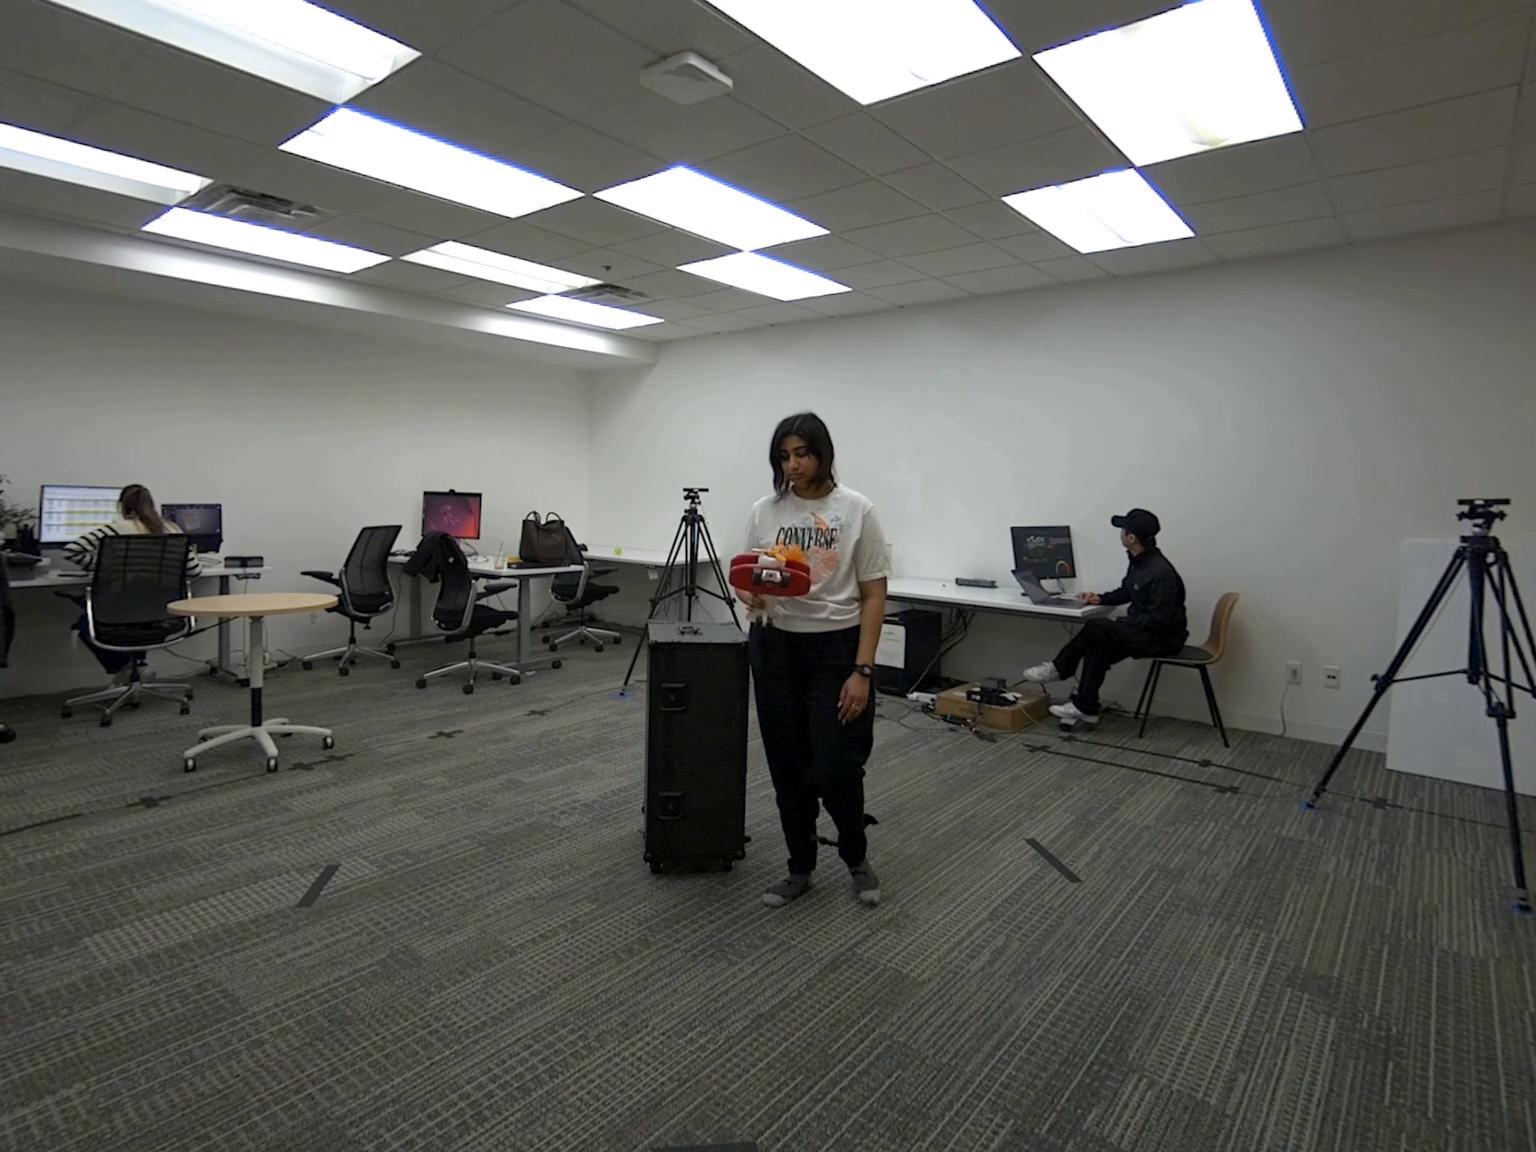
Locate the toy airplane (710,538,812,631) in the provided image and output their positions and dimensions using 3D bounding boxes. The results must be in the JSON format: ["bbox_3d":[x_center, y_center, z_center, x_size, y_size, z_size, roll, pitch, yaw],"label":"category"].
[{"bbox_3d":[-0.010,0.031,2.680,0.244,0.259,0.161,27,35,-21],"label":"toy airplane"}]
